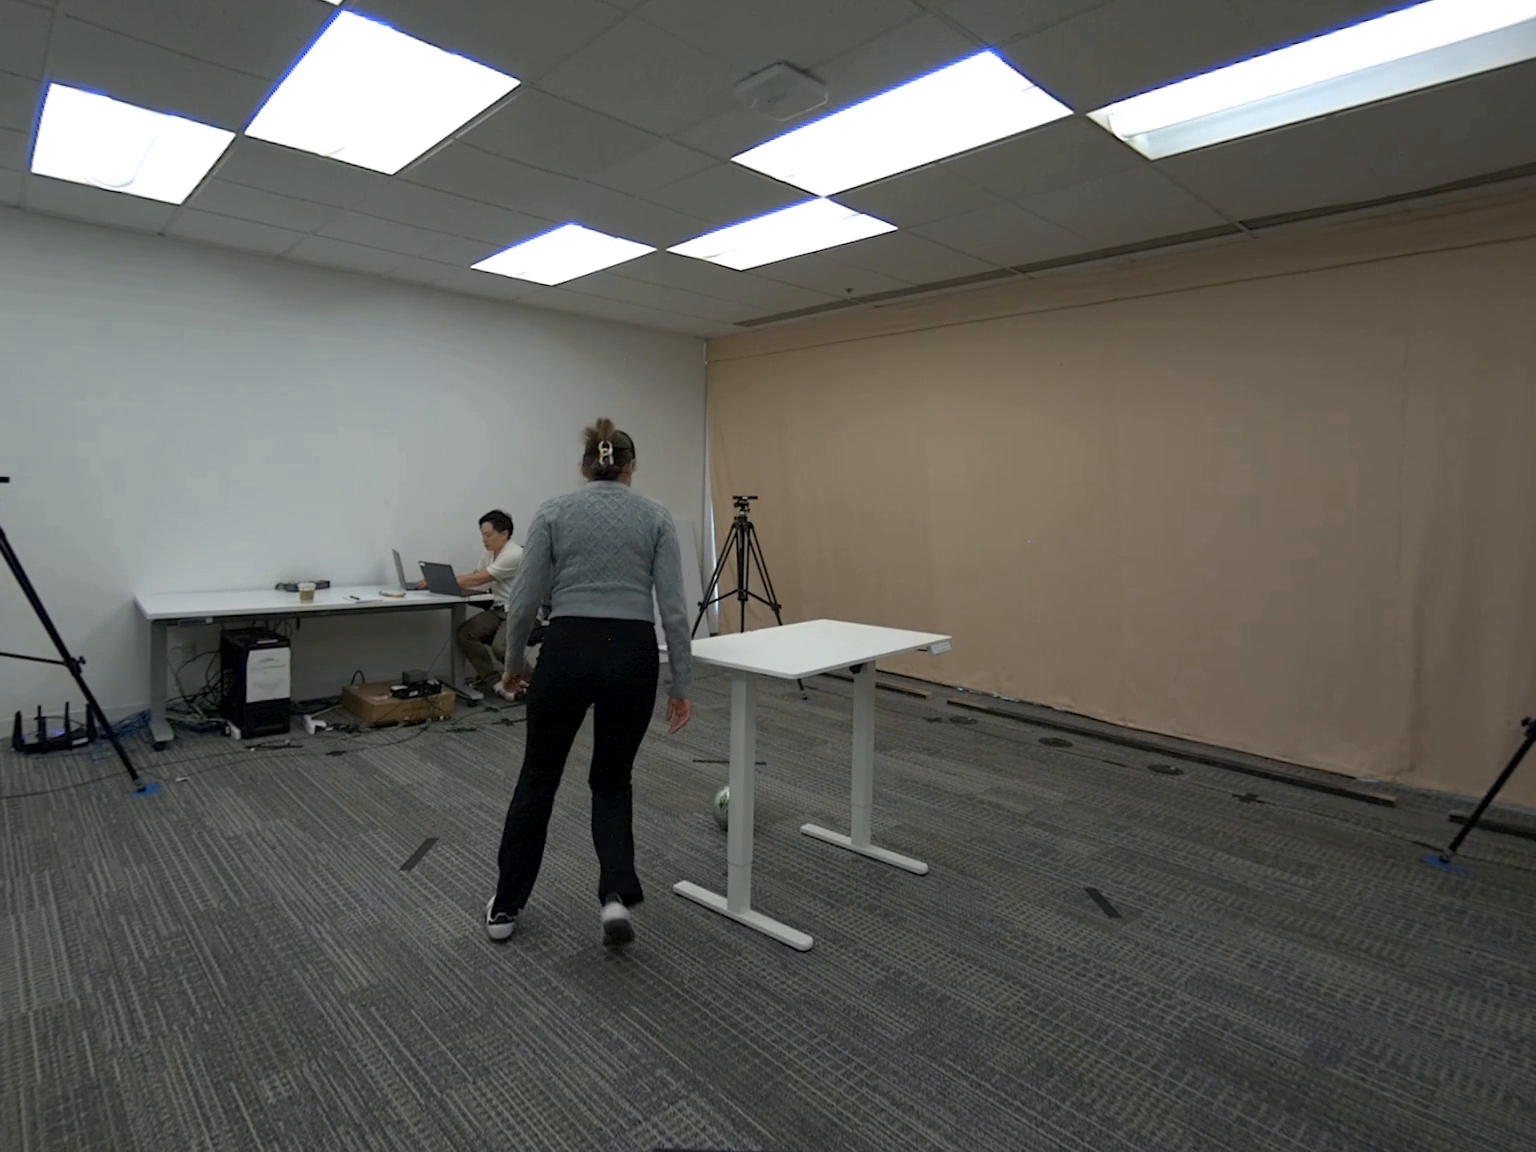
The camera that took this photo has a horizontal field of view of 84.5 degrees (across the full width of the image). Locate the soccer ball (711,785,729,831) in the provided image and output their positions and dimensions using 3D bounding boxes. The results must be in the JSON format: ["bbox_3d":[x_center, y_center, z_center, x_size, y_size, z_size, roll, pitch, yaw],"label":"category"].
[{"bbox_3d":[-0.158,0.970,3.539,0.187,0.187,0.188,1,4,-1],"label":"soccer ball"}]
